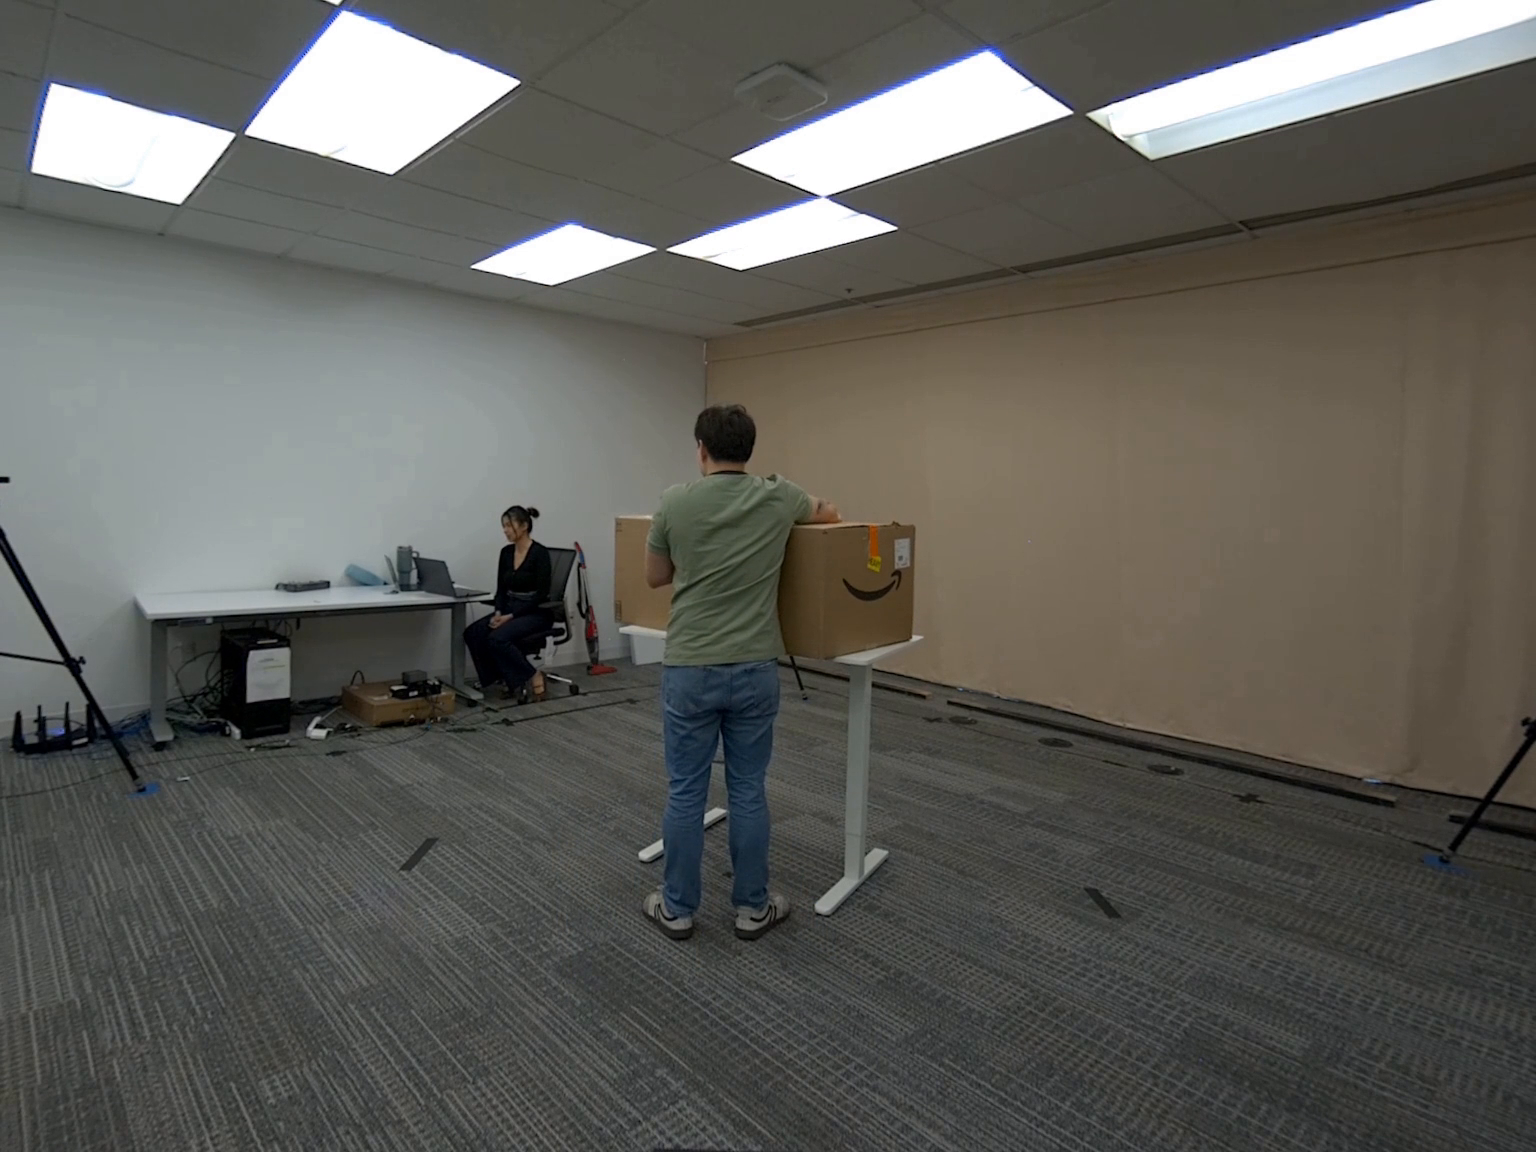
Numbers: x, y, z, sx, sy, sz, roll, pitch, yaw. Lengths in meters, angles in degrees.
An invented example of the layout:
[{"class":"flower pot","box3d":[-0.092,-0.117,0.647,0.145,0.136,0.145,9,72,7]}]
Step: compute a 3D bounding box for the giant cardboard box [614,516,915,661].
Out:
[{"class":"giant cardboard box","box3d":[-0.040,-0.001,3.215,1.052,0.424,0.565,6,8,40]}]
